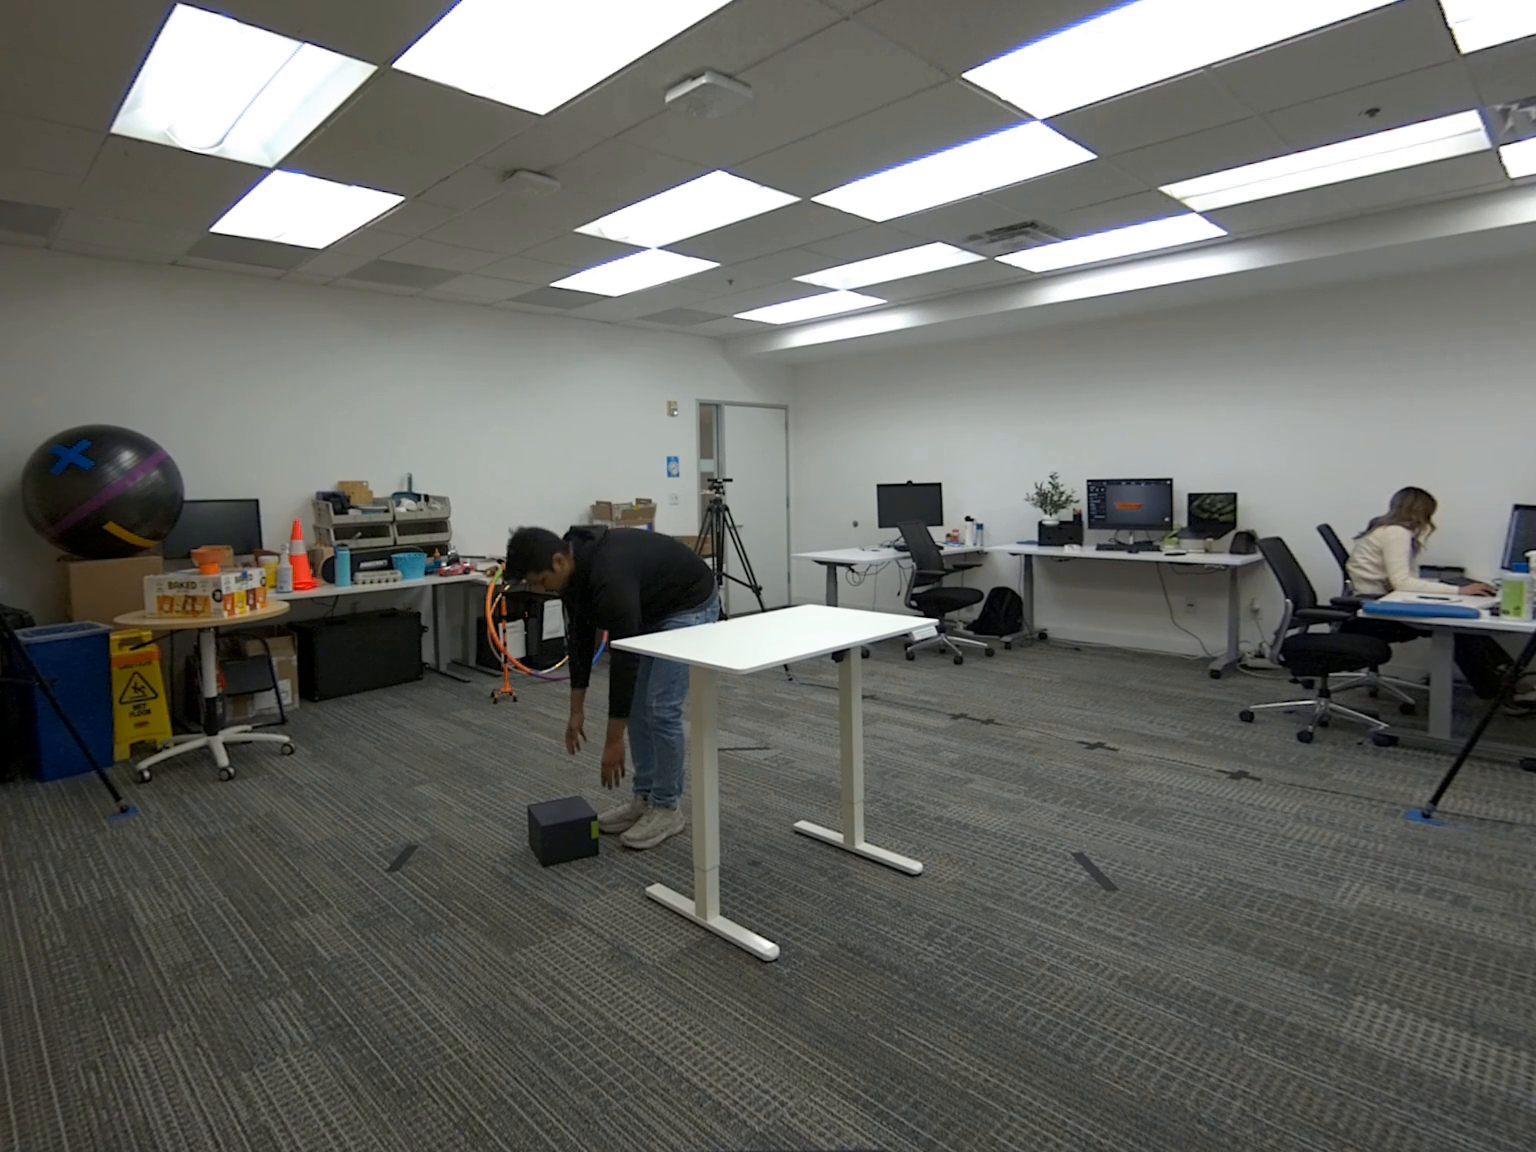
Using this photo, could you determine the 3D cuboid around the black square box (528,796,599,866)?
[{"bbox_3d":[-0.776,0.960,3.241,0.212,0.155,0.234,-4,6,-28],"label":"black square box"}]
